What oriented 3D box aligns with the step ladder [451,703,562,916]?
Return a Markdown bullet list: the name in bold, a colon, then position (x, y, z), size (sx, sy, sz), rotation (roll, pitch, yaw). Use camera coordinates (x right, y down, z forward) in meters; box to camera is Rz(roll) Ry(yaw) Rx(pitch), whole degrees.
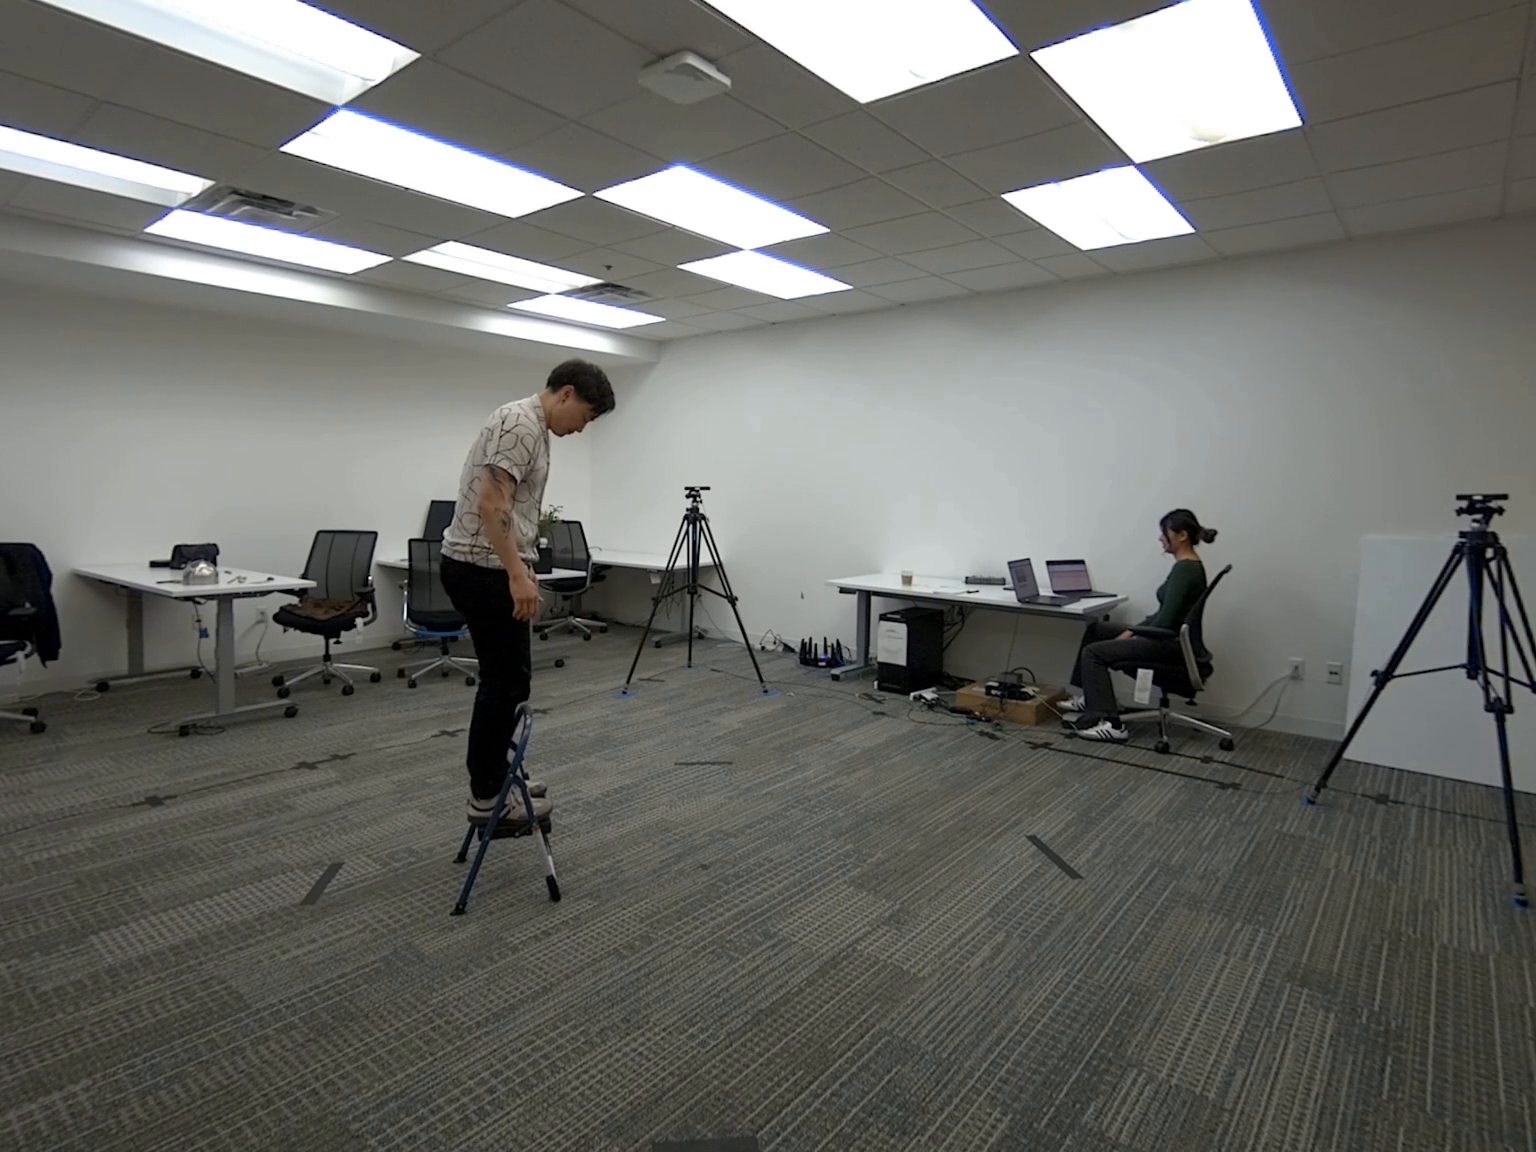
- **step ladder**: position (-0.930, 0.771, 2.975), size (0.343, 0.604, 0.440), rotation (-1, 4, -18)
